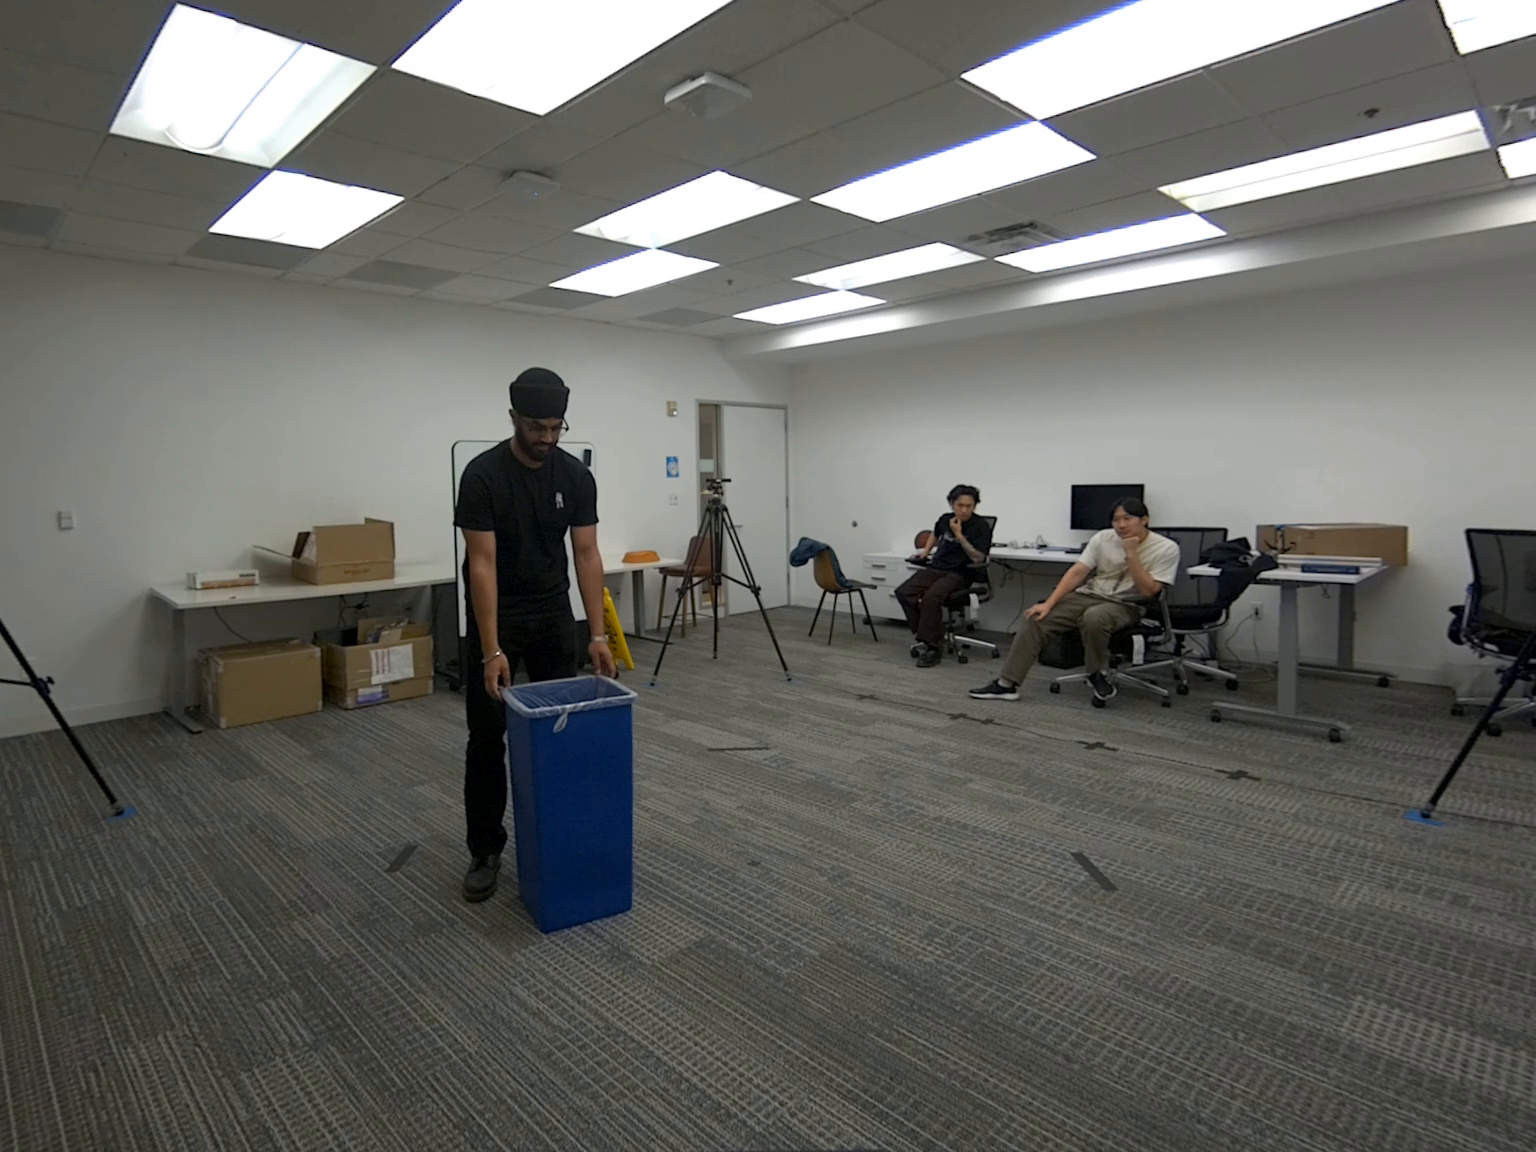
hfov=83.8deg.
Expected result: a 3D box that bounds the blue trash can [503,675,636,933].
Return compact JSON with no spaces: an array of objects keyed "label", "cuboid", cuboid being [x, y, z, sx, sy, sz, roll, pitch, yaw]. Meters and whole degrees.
[{"label":"blue trash can","cuboid":[-0.657,0.728,2.829,0.369,0.711,0.384,-4,5,-30]}]
